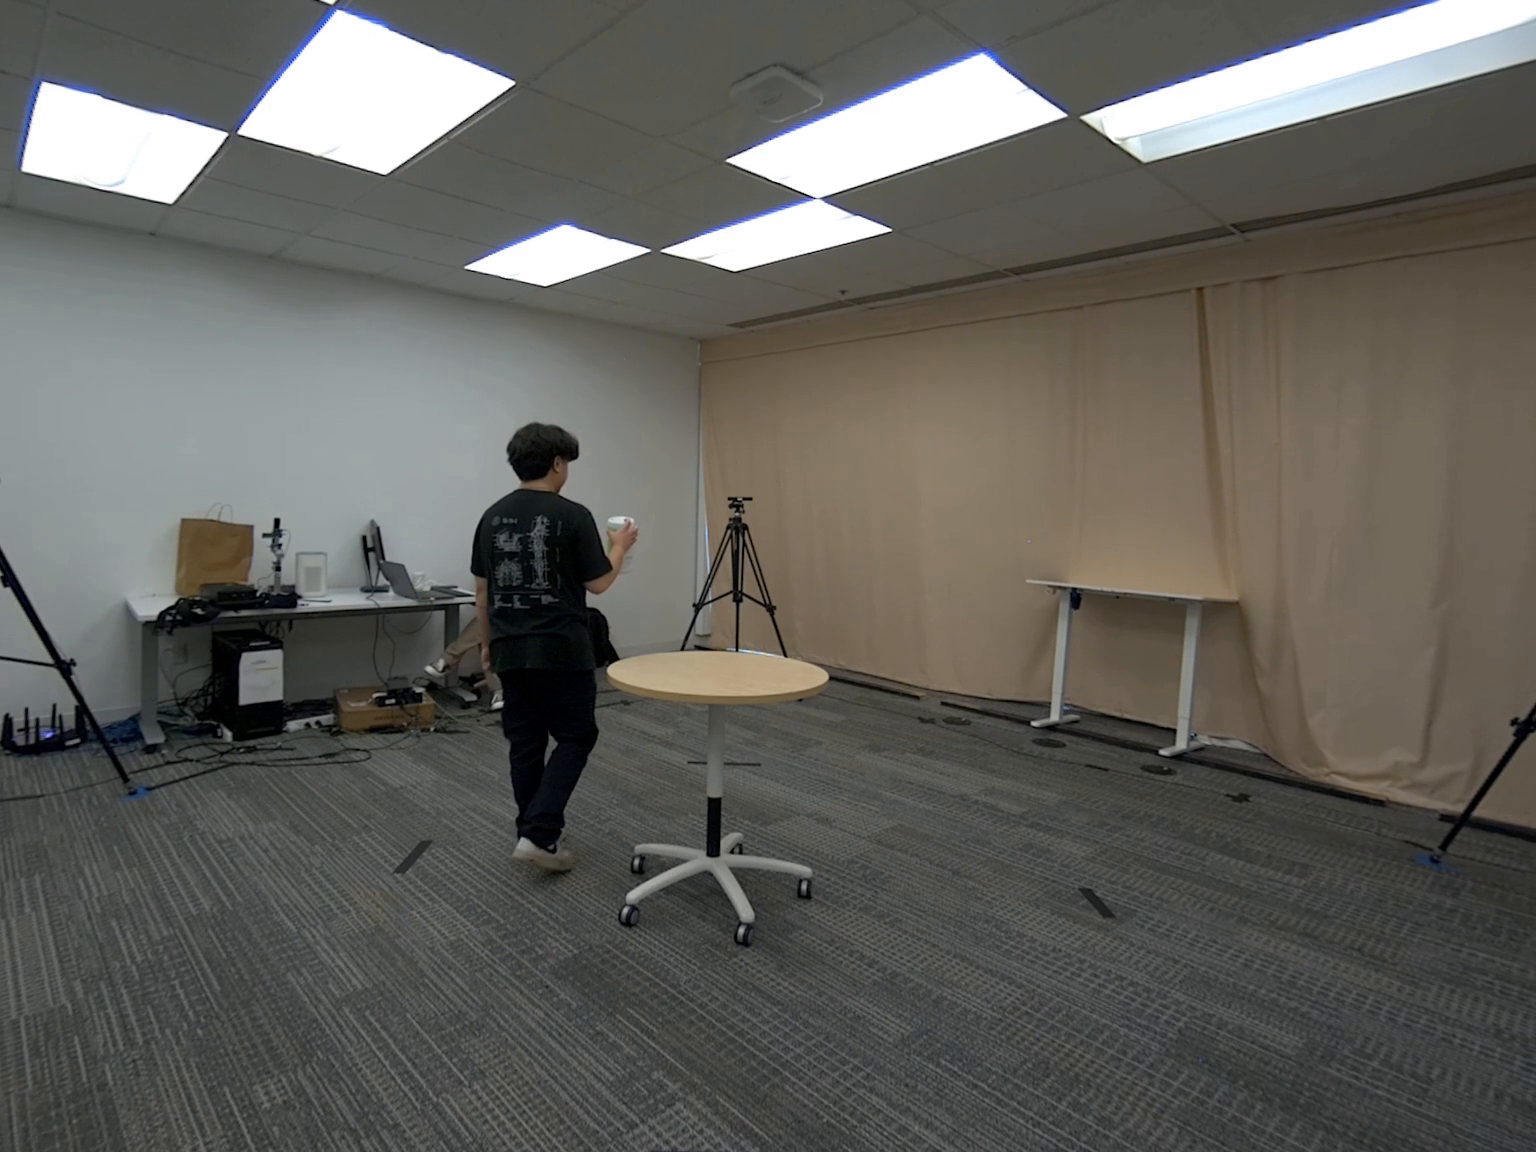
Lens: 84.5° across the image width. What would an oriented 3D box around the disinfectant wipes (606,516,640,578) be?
[{"bbox_3d":[-0.593,-0.120,3.441,0.117,0.215,0.119,3,15,-2],"label":"disinfectant wipes"}]
